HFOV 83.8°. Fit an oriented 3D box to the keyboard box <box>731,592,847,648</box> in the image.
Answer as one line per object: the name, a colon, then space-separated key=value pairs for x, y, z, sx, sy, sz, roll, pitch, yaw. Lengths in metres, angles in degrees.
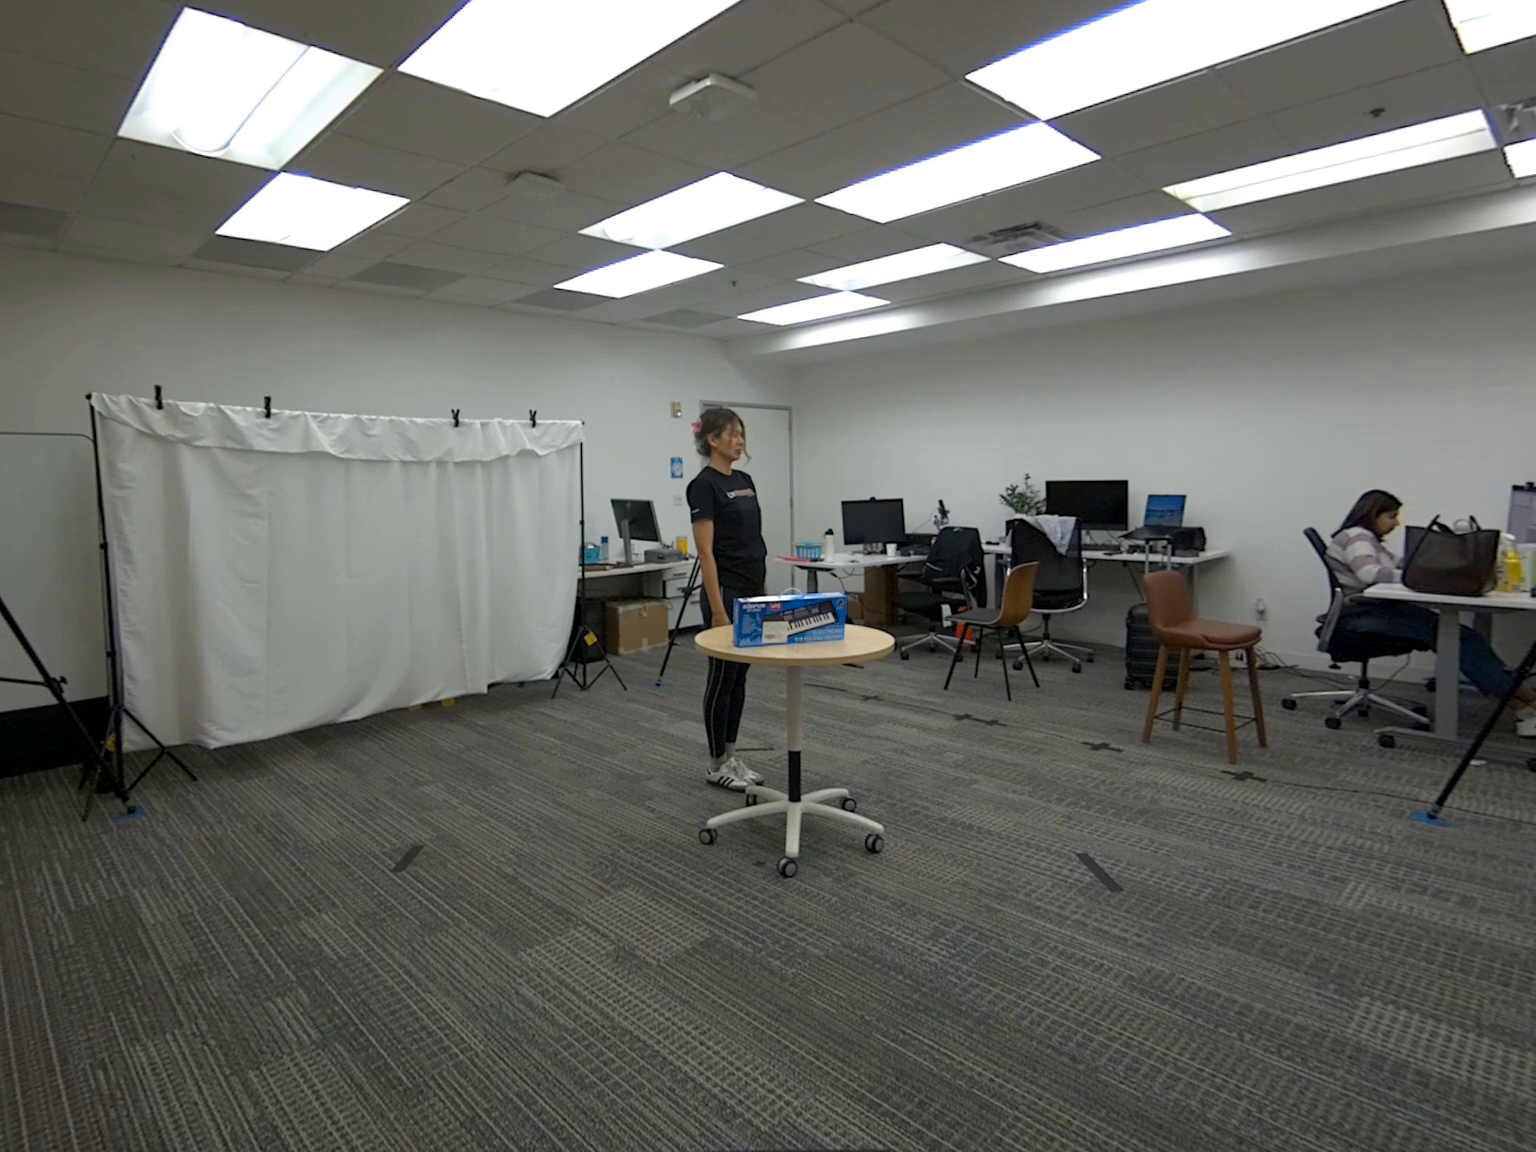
keyboard box: x=0.083 y=0.165 z=3.194 sx=0.429 sy=0.175 sz=0.060 roll=-2 pitch=9 yaw=-21
